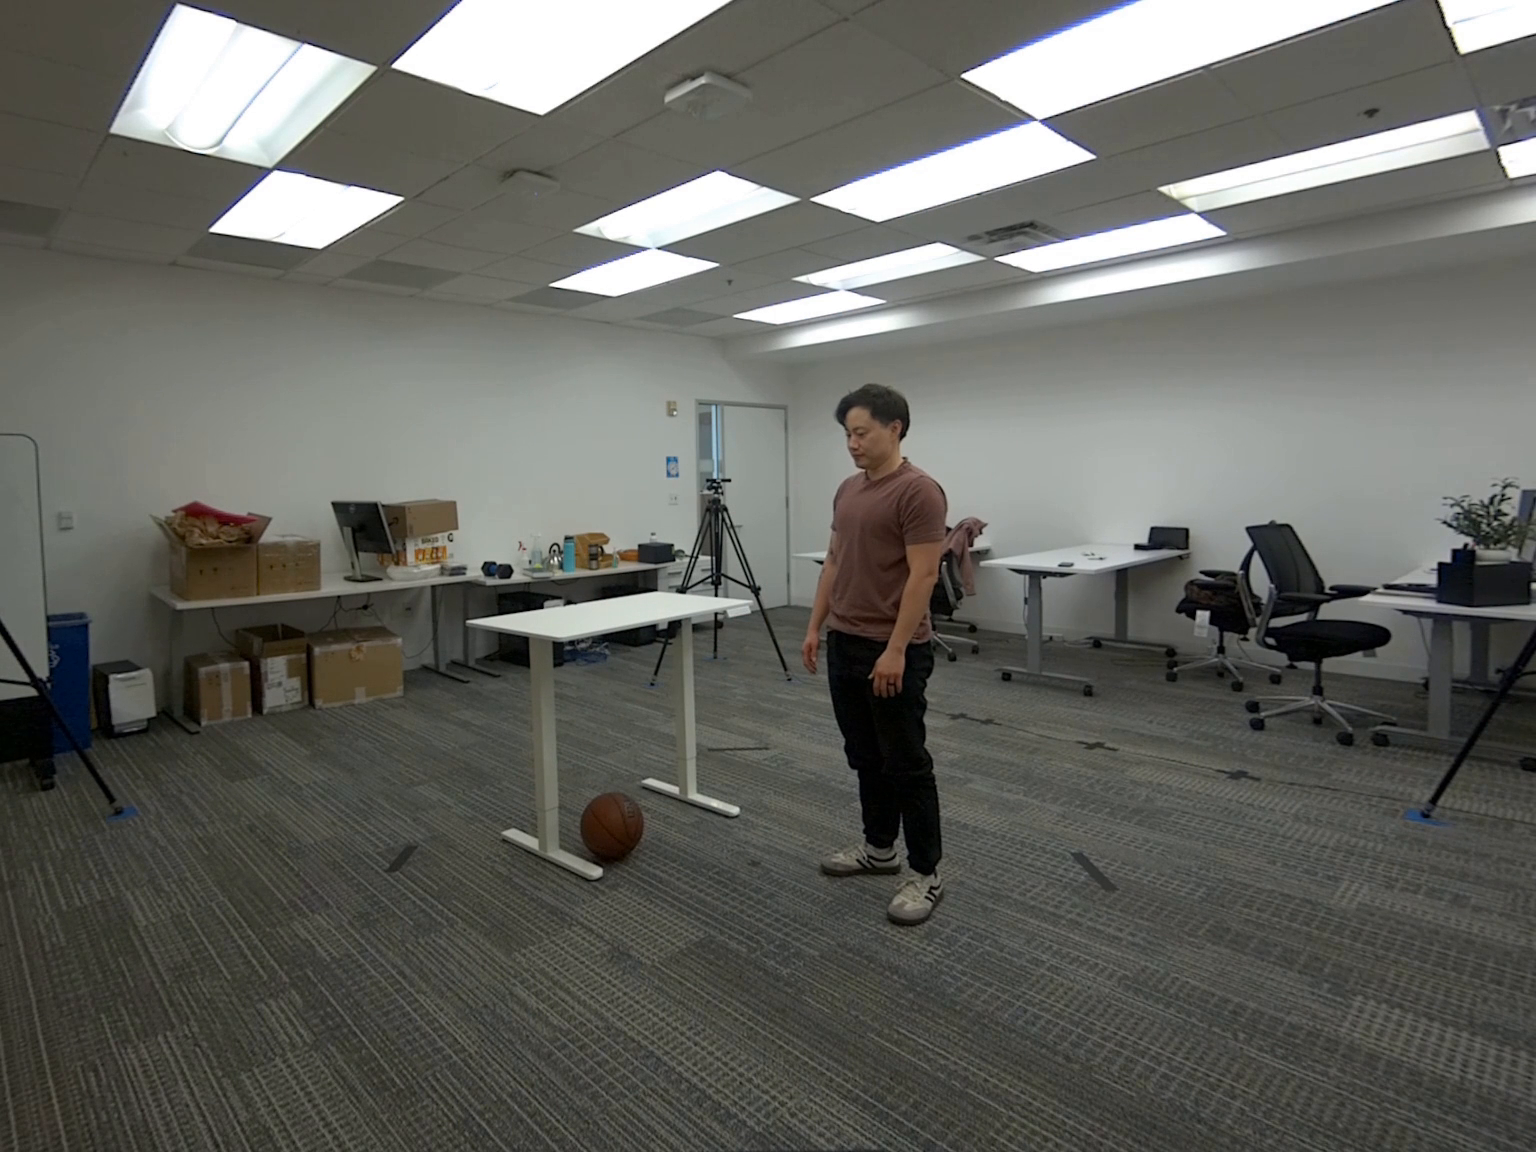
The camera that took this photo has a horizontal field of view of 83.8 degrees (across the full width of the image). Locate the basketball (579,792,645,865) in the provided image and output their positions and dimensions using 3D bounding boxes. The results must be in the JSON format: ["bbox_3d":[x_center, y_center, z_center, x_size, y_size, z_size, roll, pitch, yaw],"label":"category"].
[{"bbox_3d":[-0.575,0.933,3.175,0.236,0.235,0.237,-1,5,-2],"label":"basketball"}]
